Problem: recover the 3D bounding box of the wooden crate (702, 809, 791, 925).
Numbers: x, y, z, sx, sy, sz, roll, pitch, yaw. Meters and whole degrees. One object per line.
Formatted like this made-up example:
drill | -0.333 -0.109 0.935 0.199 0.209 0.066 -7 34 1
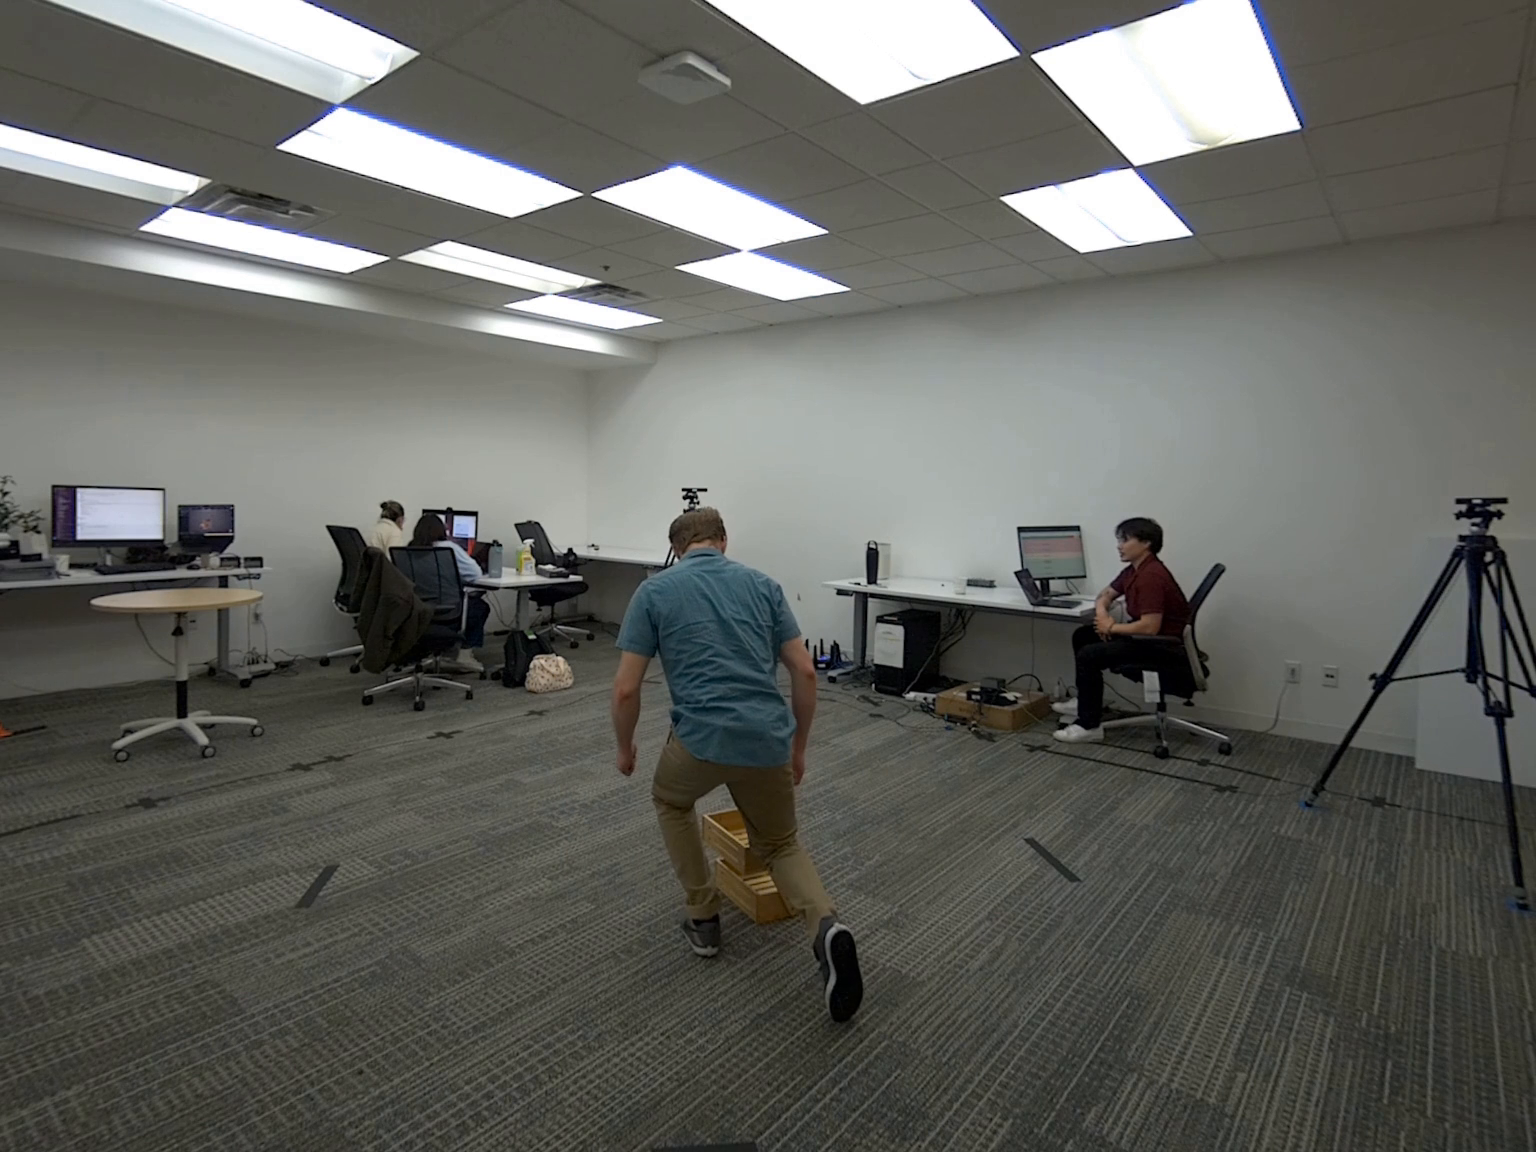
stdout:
wooden crate | -0.031 0.955 2.888 0.294 0.272 0.334 -2 5 -30
